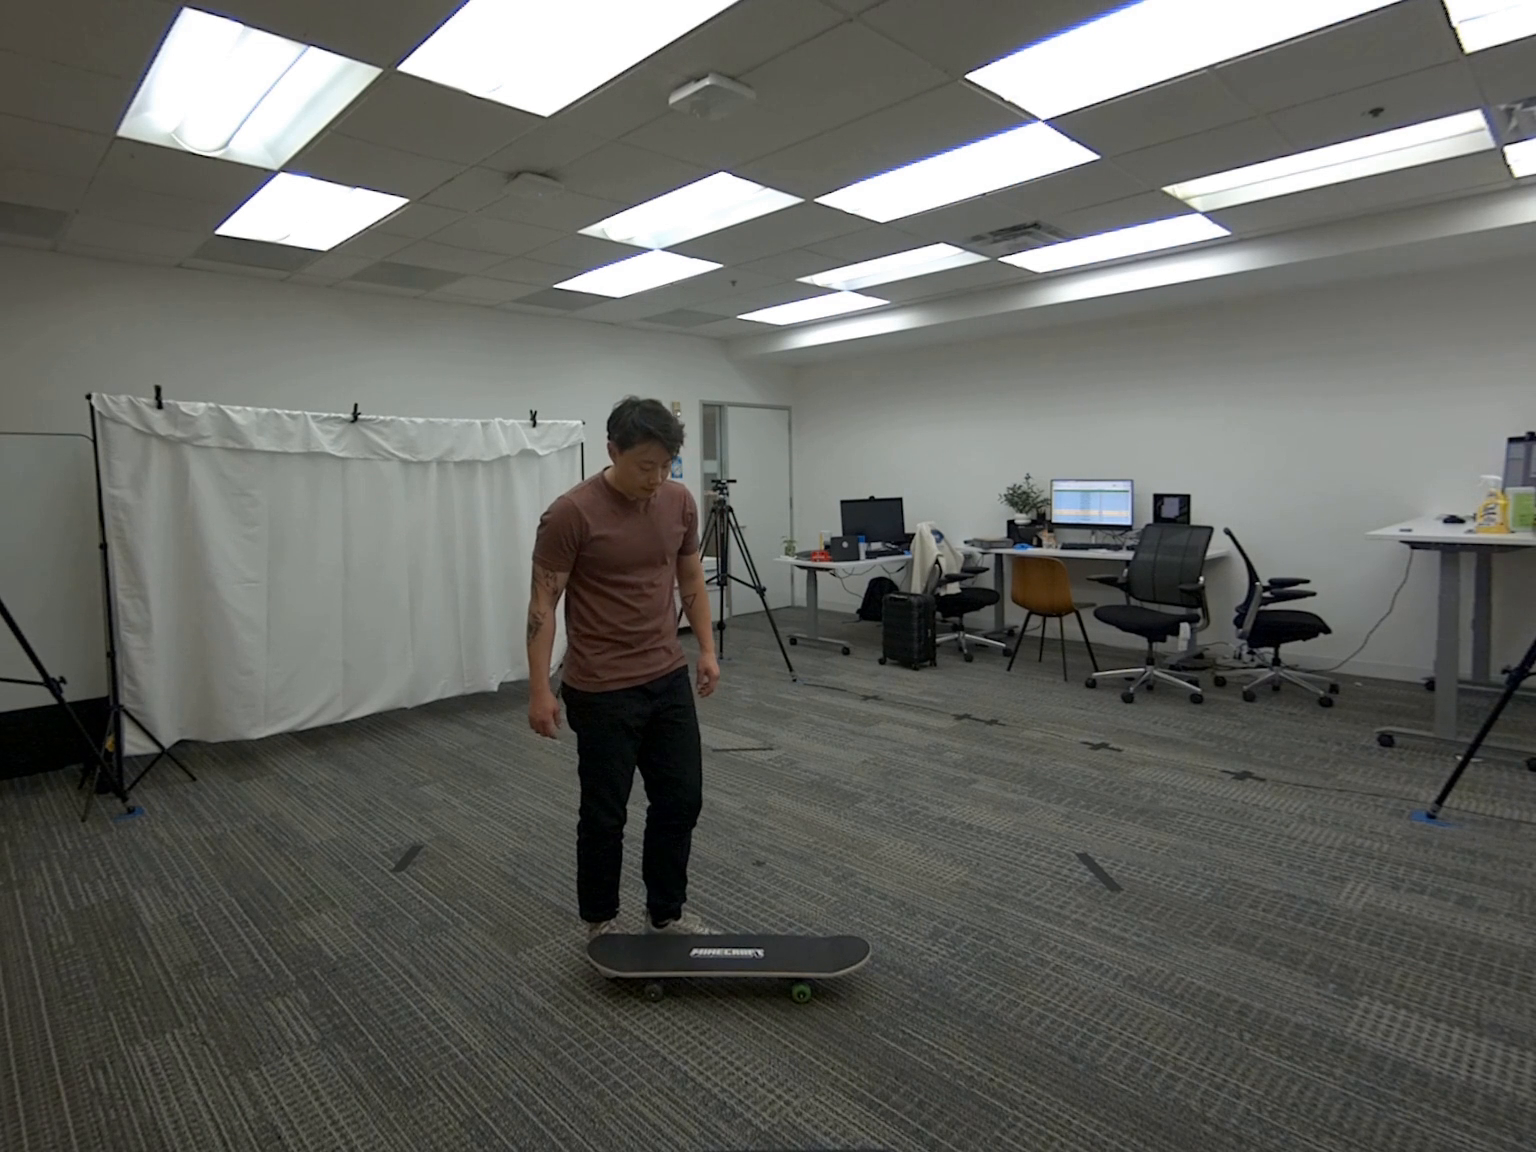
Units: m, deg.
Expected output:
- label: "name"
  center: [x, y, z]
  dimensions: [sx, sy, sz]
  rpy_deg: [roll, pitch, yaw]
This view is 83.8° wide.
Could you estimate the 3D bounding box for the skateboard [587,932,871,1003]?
- label: "skateboard"
  center: [-0.104, 1.078, 2.370]
  dimensions: [0.788, 0.110, 0.194]
  rpy_deg: [-2, 6, 3]
